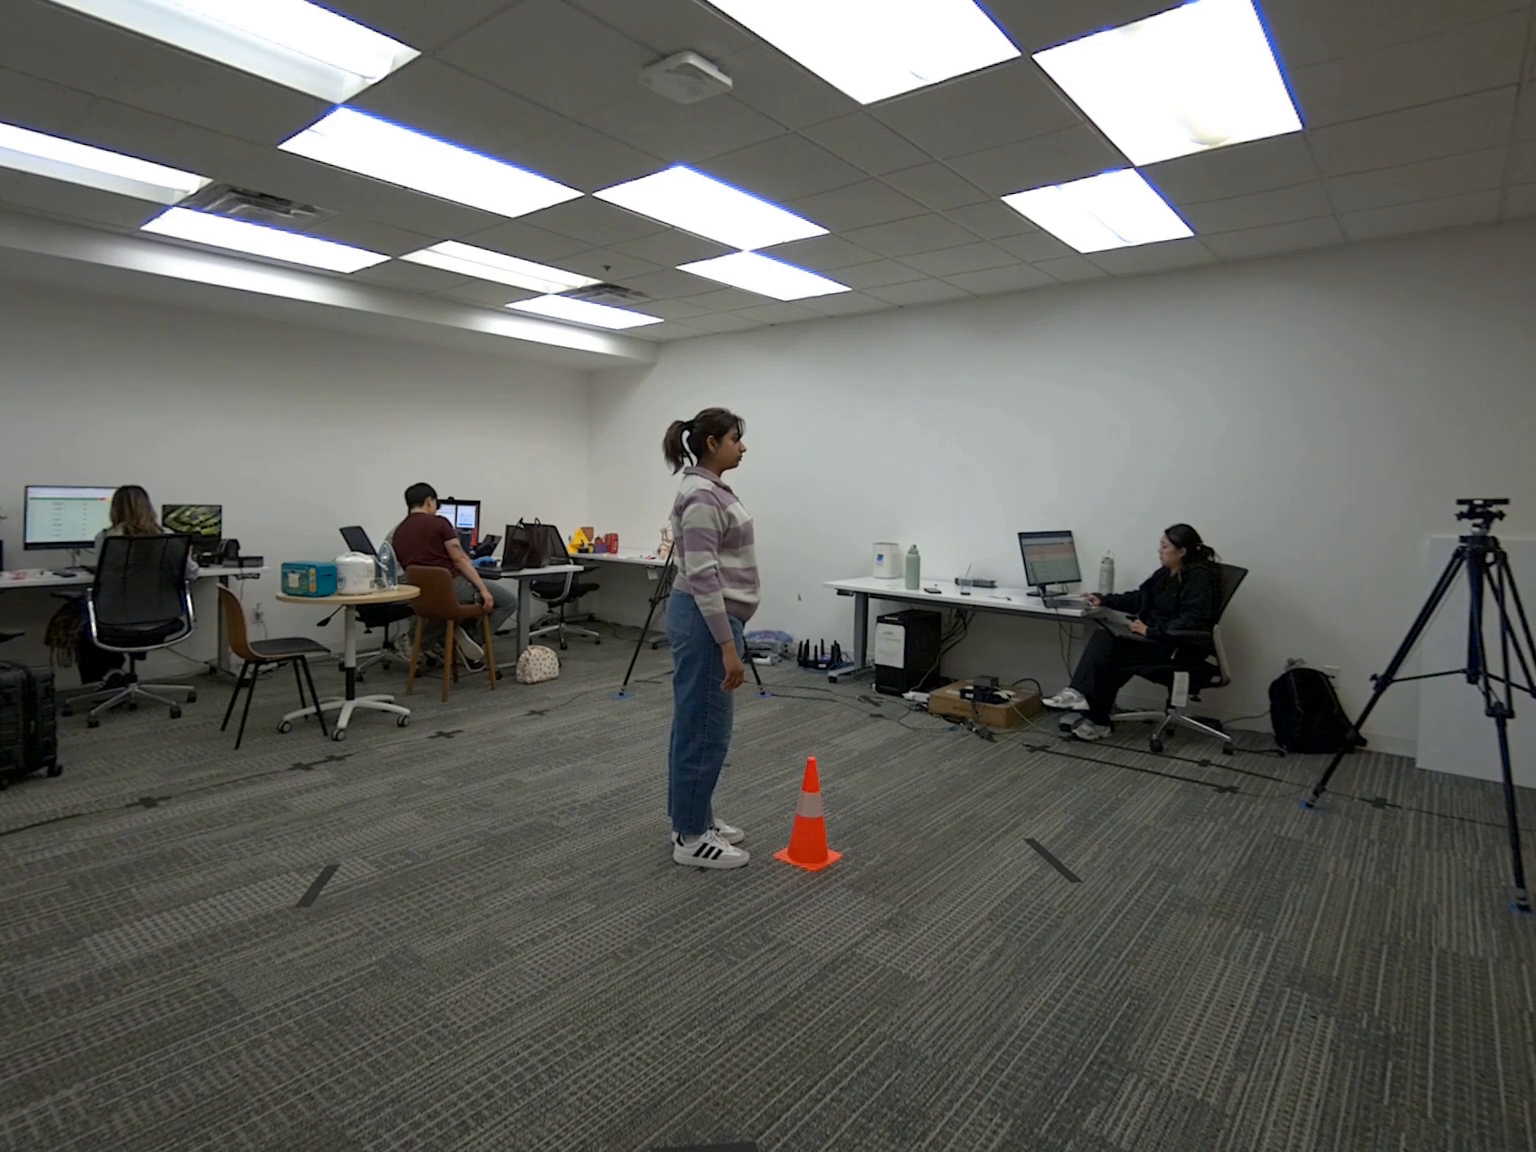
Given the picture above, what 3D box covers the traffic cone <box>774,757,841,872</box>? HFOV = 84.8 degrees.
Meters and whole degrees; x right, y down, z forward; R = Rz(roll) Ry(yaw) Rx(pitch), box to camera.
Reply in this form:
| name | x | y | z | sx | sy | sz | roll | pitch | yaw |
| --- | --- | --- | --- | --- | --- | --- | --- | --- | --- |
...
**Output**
| name | x | y | z | sx | sy | sz | roll | pitch | yaw |
| --- | --- | --- | --- | --- | --- | --- | --- | --- | --- |
| traffic cone | 0.147 | 0.883 | 3.236 | 0.210 | 0.382 | 0.199 | 4 | 4 | 35 |
